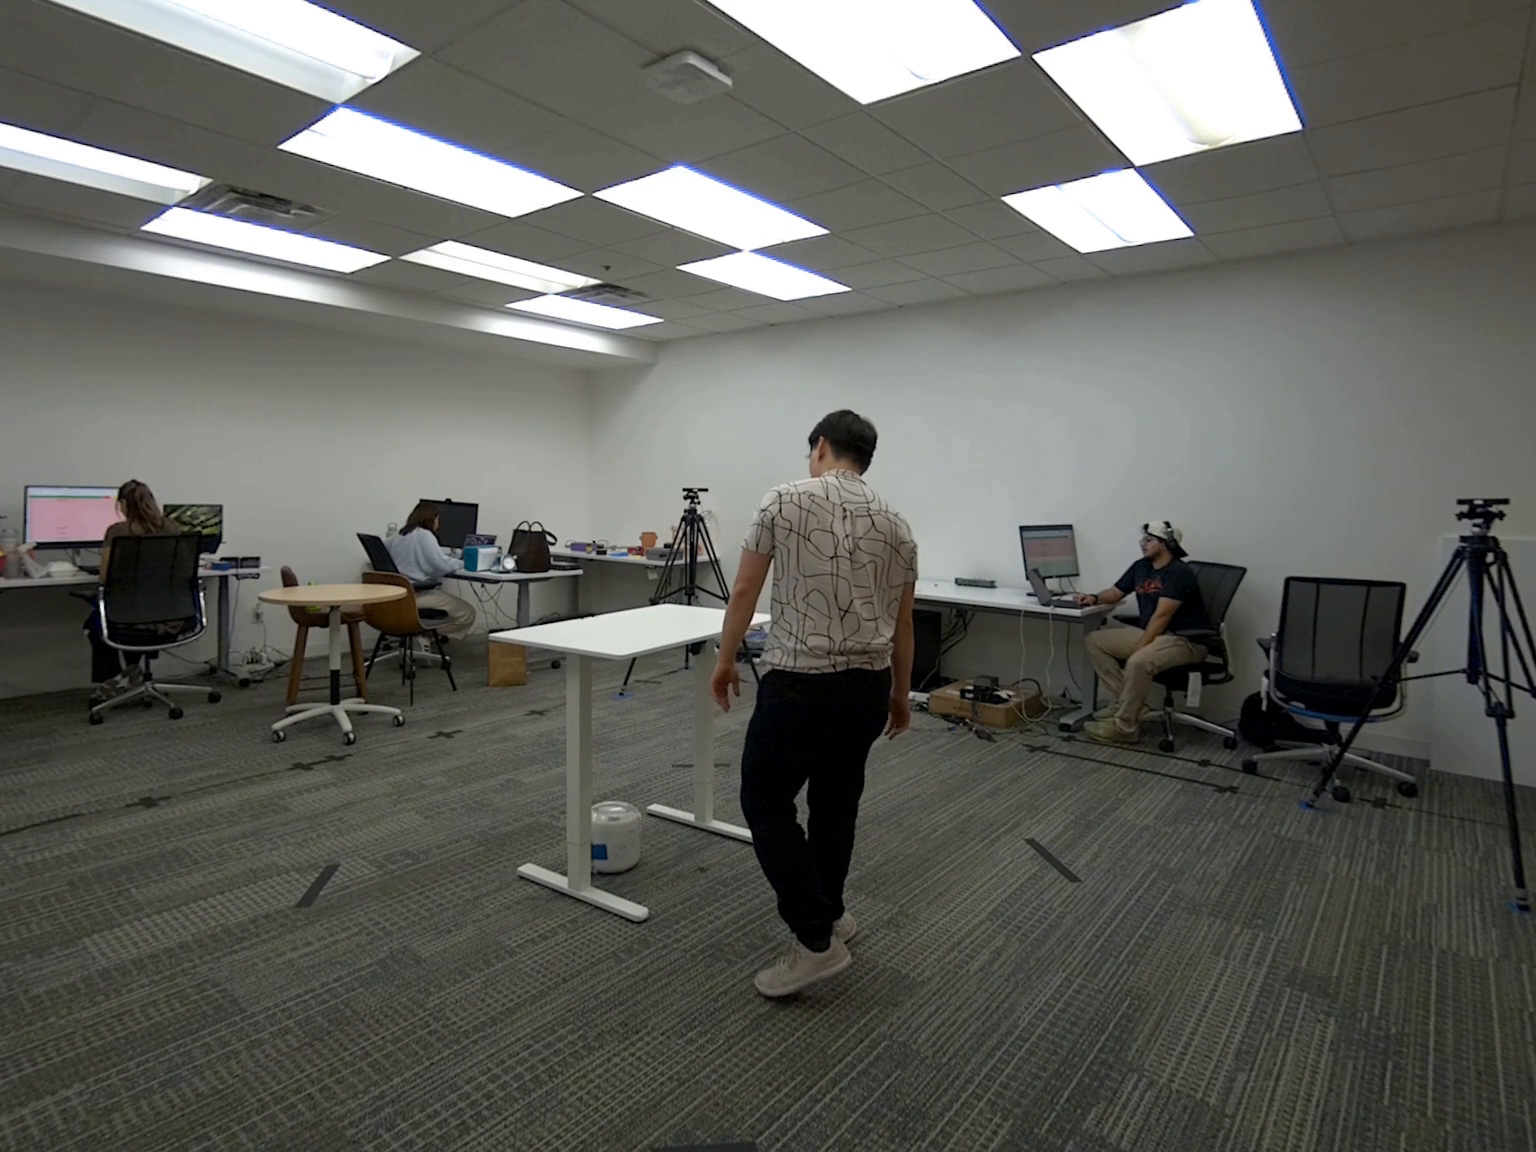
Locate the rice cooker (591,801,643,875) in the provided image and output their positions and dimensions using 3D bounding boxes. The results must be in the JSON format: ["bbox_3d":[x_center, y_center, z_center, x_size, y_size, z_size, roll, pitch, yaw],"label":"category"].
[{"bbox_3d":[-0.585,0.944,3.136,0.220,0.232,0.218,1,4,-1],"label":"rice cooker"}]
